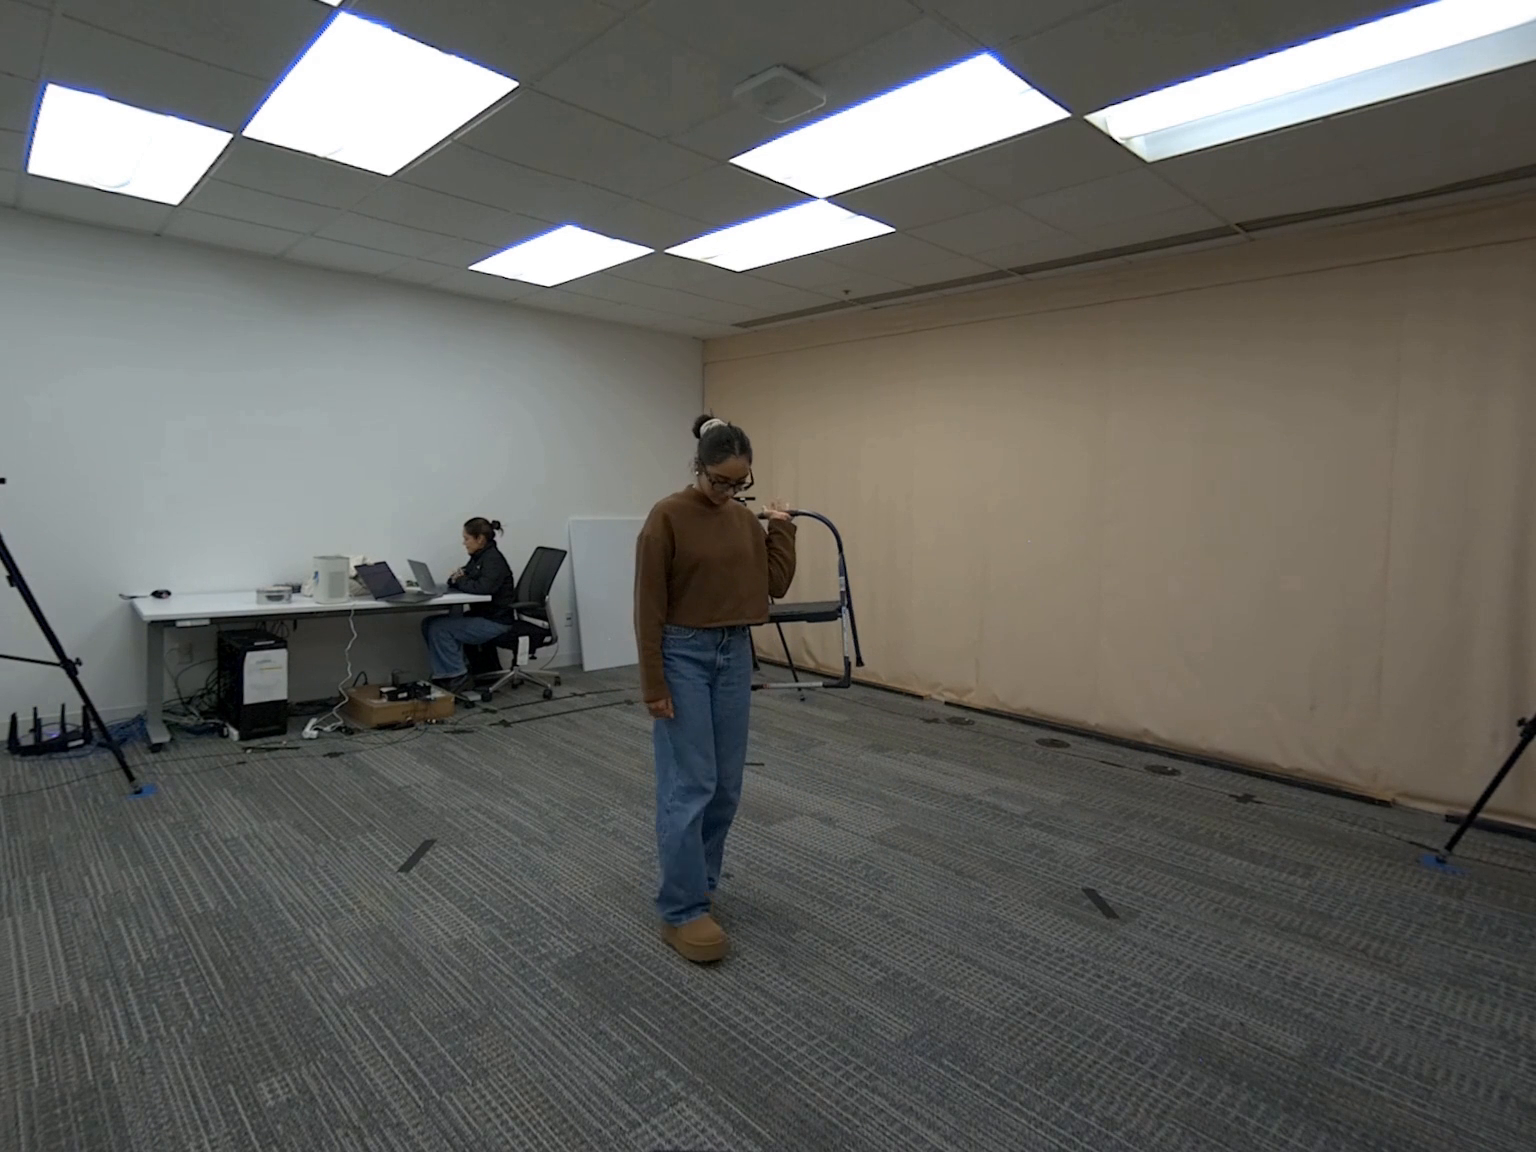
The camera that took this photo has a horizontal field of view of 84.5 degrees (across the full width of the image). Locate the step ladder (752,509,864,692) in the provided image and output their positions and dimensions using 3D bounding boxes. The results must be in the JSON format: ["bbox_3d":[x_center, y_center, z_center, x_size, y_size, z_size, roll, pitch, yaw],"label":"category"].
[{"bbox_3d":[0.078,0.074,2.994,0.435,0.605,0.346,-4,3,15],"label":"step ladder"}]
